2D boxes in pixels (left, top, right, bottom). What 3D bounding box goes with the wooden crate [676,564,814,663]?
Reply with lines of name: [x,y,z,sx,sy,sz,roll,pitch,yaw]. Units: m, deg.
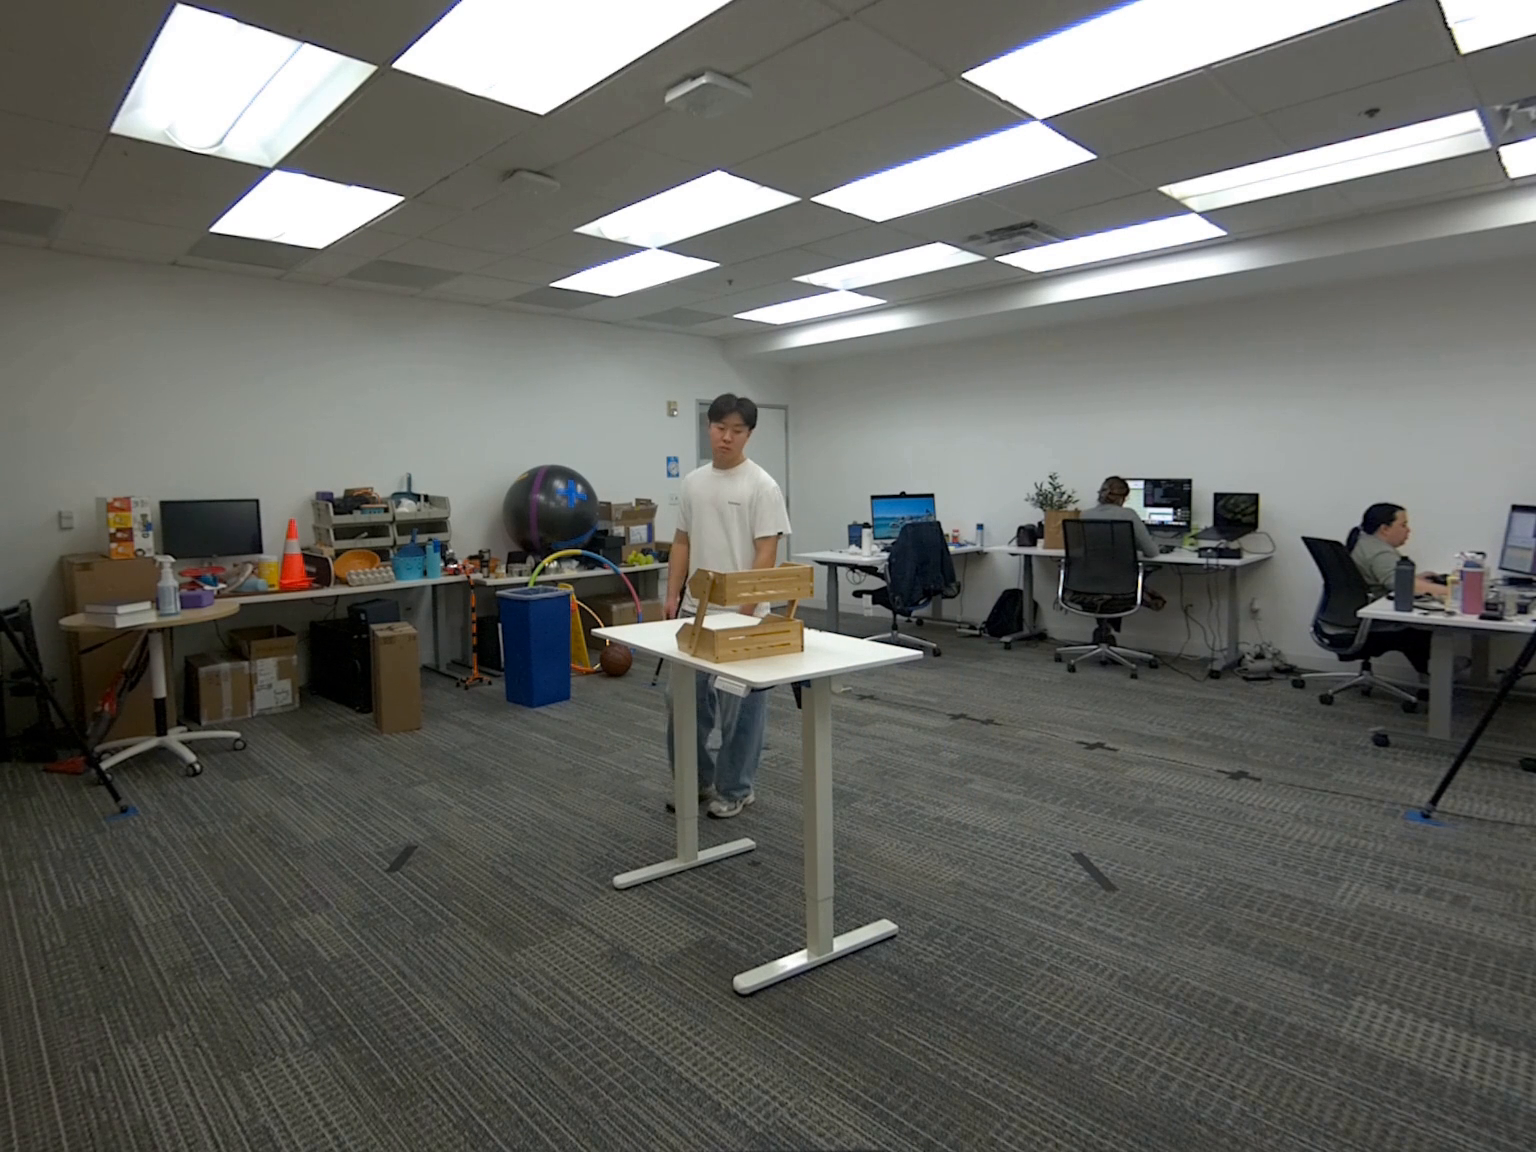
wooden crate: [-0.072,0.096,2.532,0.317,0.272,0.310,-5,7,-31]
